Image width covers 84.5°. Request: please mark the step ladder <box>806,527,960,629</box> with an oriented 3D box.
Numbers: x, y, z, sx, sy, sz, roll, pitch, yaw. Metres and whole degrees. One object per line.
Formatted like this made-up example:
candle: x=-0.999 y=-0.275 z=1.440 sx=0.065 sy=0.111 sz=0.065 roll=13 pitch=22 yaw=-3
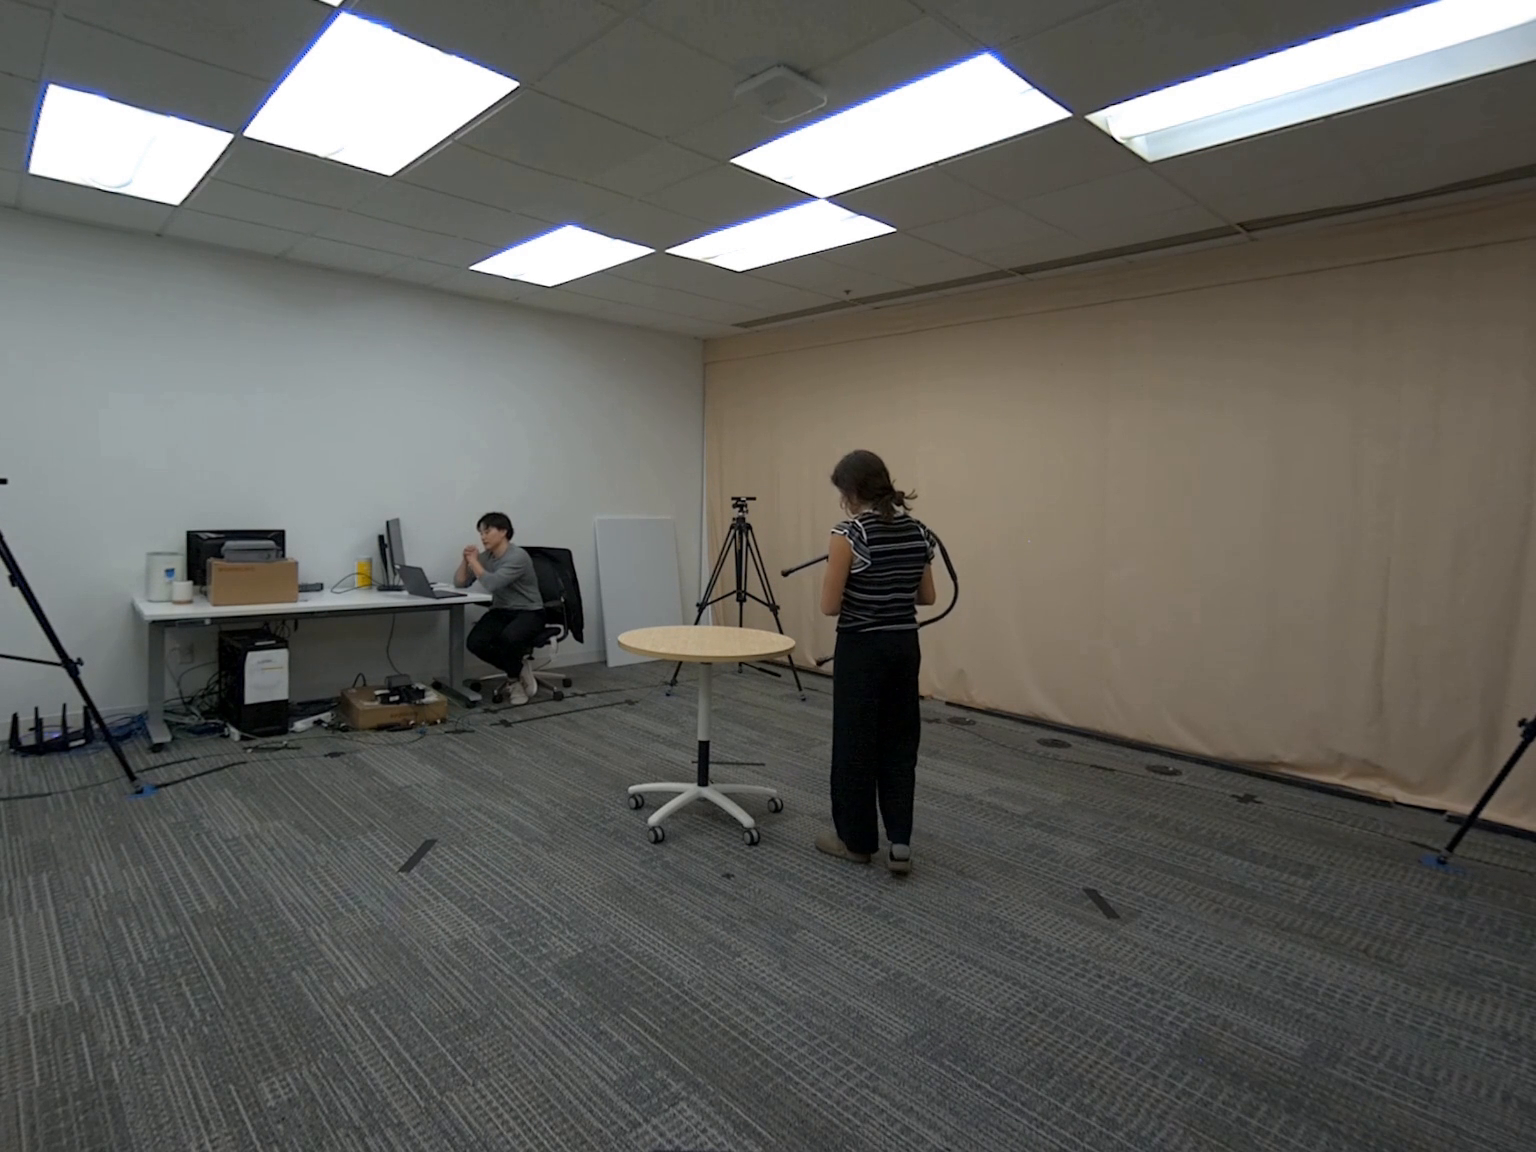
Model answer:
step ladder: x=0.445 y=0.048 z=3.425 sx=0.613 sy=0.433 sz=0.343 roll=-24 pitch=-6 yaw=41
